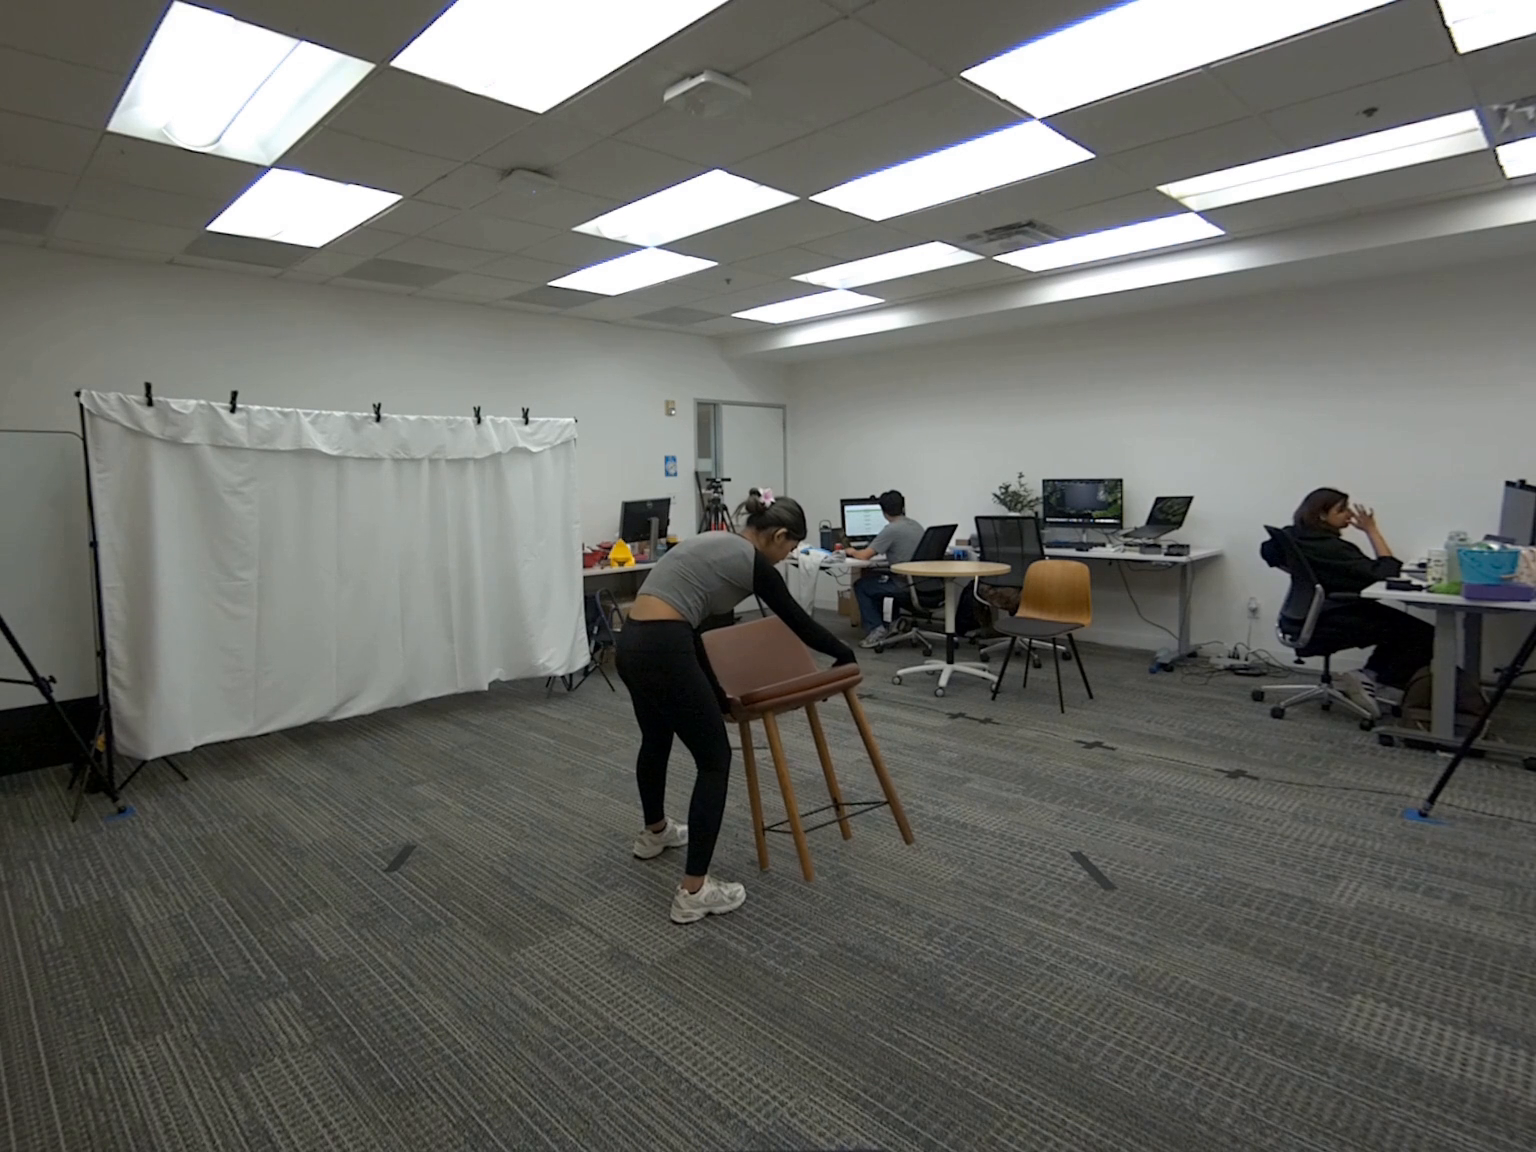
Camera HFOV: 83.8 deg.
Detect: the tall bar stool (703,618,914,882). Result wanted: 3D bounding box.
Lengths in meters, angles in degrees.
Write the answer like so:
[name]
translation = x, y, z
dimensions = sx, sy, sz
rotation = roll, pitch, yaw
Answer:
[tall bar stool]
translation = 0.111, 0.558, 3.012
dimensions = 0.449, 0.902, 0.469
rotation = -10, -12, -24
